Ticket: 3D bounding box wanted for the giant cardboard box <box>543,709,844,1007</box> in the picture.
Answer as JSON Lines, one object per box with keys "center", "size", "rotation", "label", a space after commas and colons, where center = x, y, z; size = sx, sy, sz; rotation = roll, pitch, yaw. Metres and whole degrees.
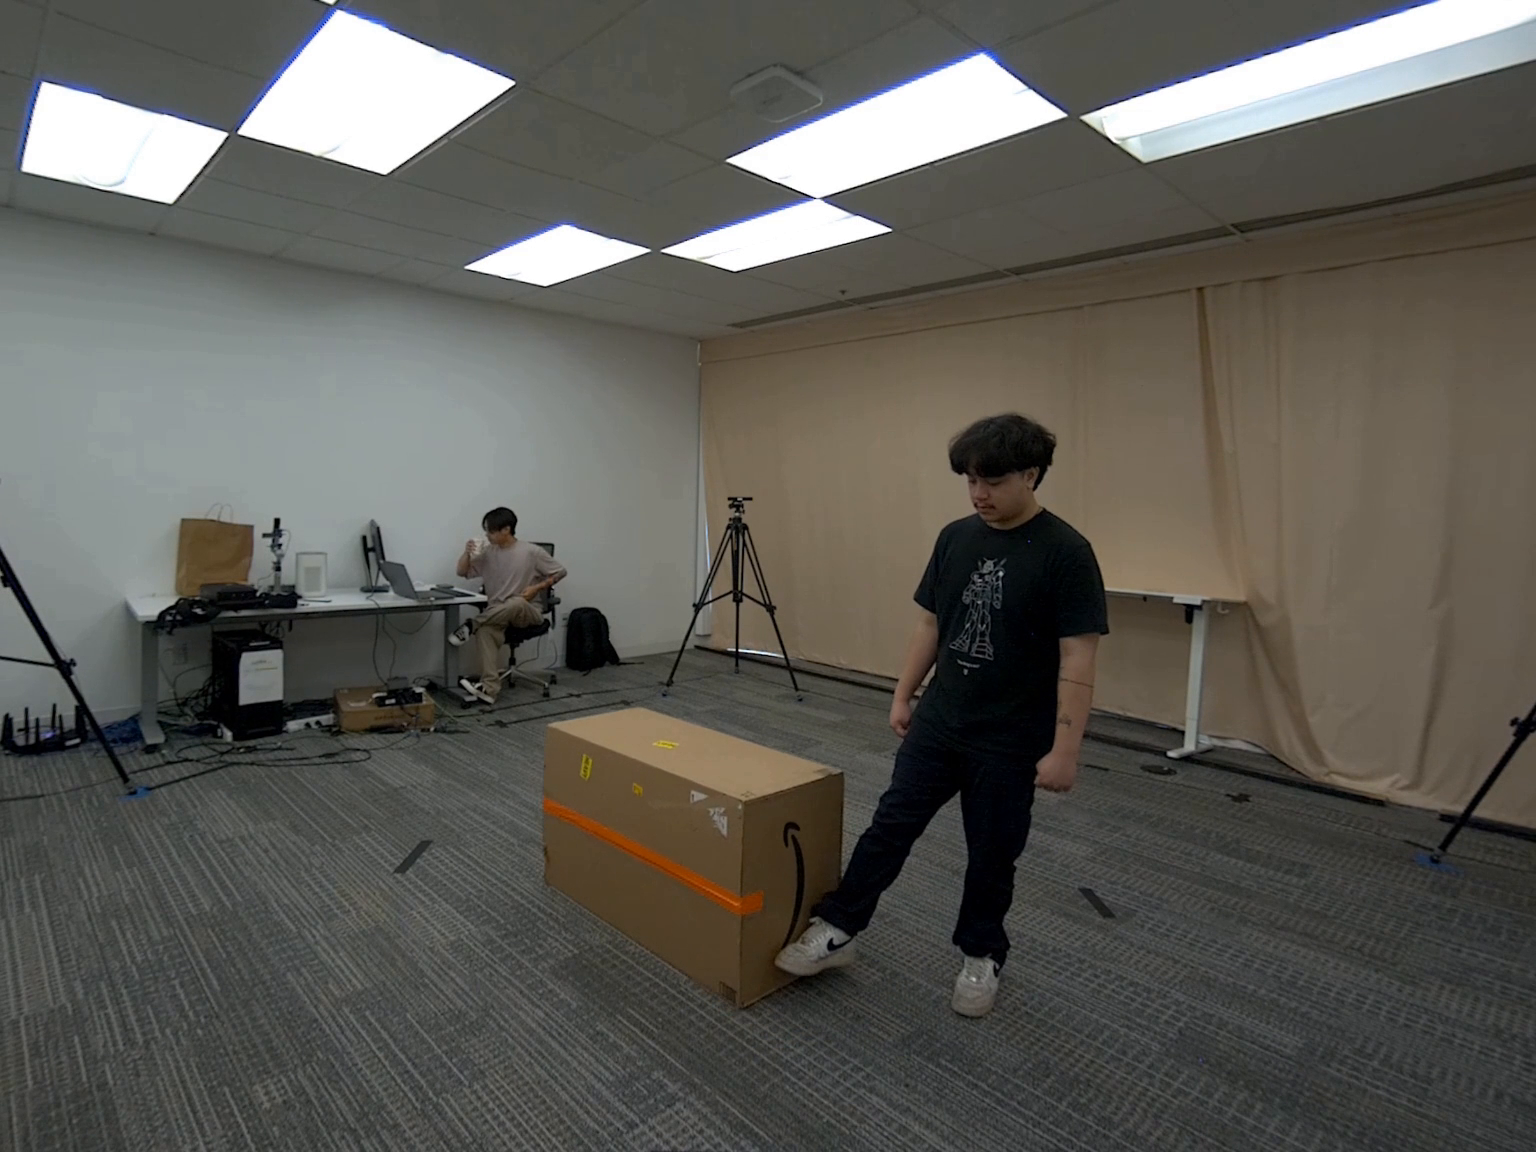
{"center": [-0.296, 0.847, 2.787], "size": [0.437, 0.582, 1.053], "rotation": [-3, 6, -45], "label": "giant cardboard box"}
